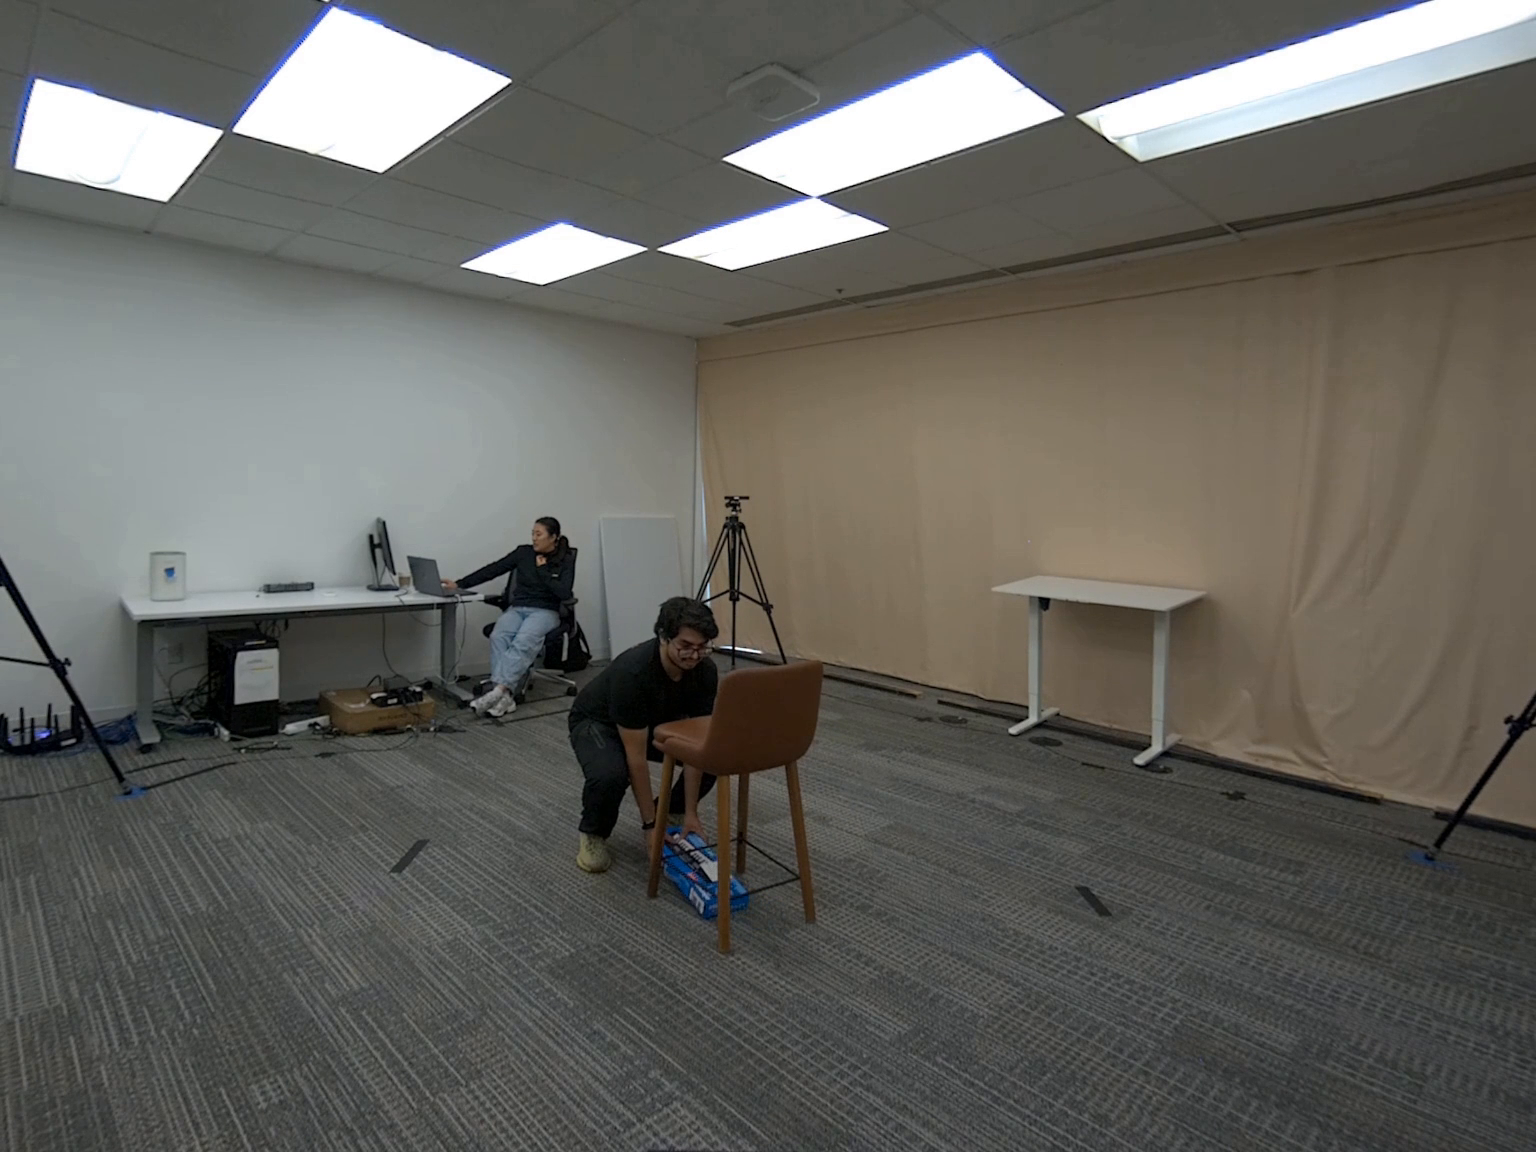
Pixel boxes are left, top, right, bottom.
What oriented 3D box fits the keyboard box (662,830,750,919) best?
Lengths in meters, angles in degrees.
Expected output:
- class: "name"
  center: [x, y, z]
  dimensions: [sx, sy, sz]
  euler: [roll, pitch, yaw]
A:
- class: "keyboard box"
  center: [-0.269, 1.055, 2.976]
  dimensions: [0.172, 0.059, 0.450]
  euler: [2, 14, -34]
